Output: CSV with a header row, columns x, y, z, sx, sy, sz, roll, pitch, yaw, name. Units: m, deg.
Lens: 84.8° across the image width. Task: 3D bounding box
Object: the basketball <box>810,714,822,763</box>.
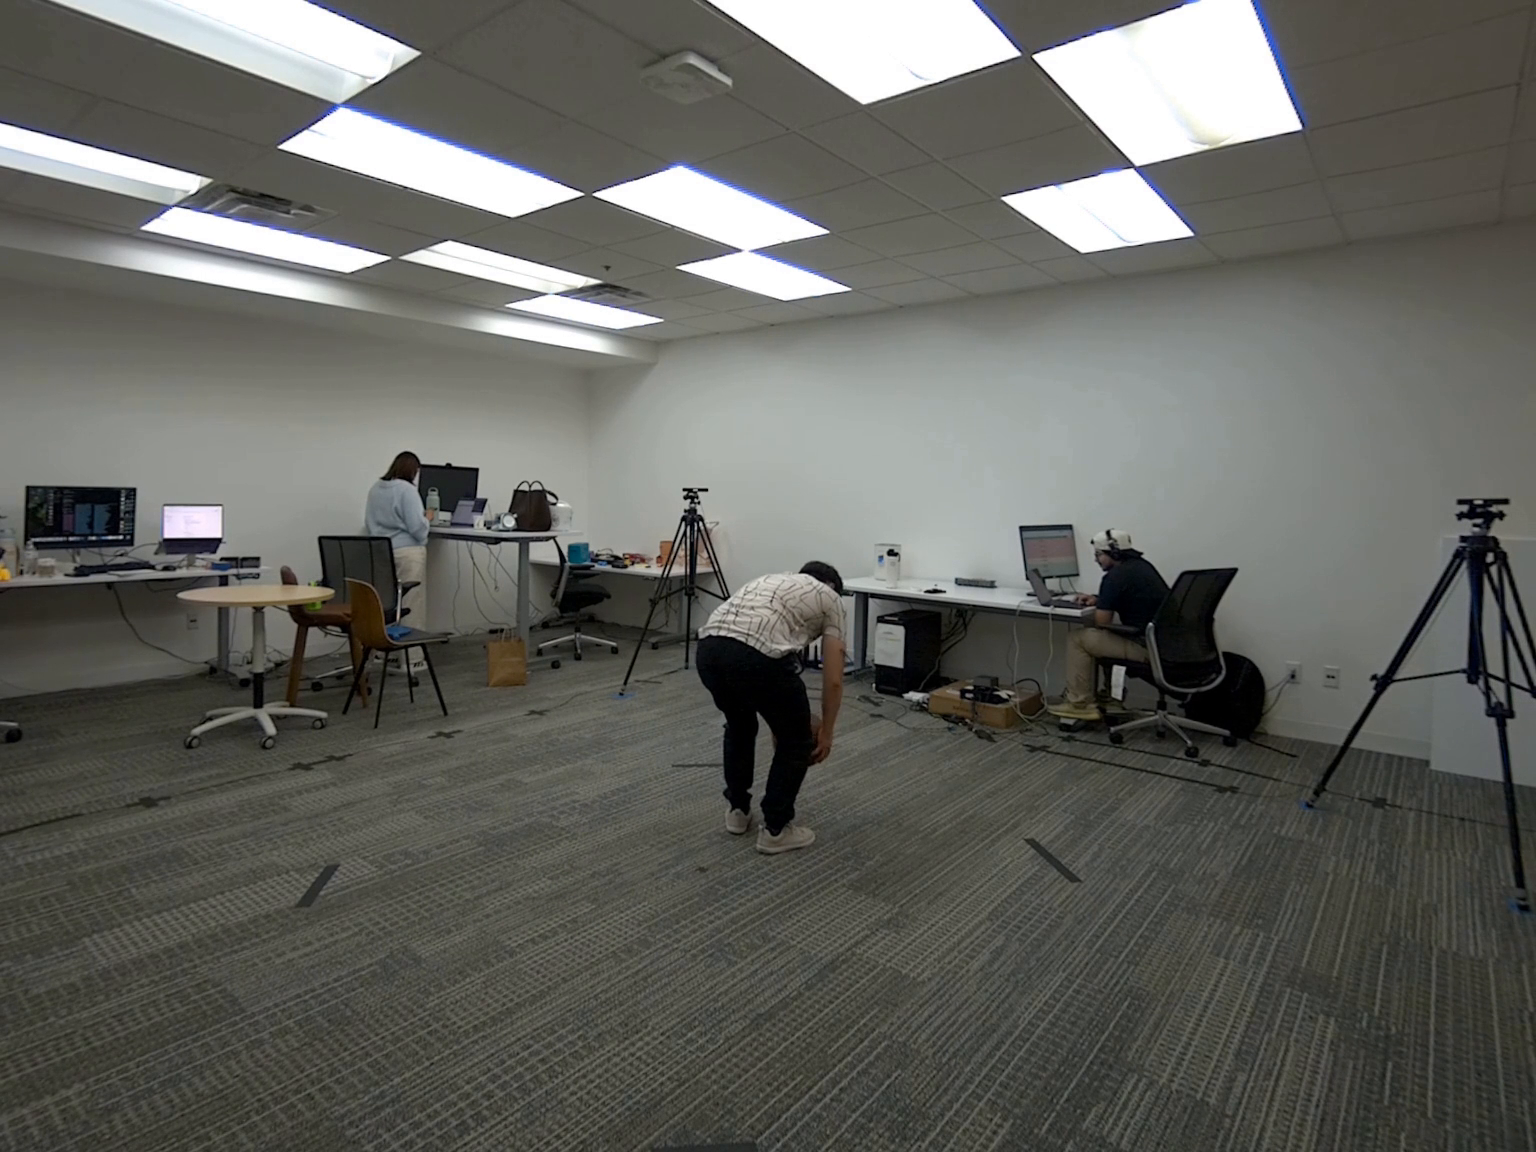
x,y,z,sx,sy,sz,roll,pitch,yaw,name
0.137,0.691,3.624,0.235,0.235,0.237,1,4,-2,basketball
